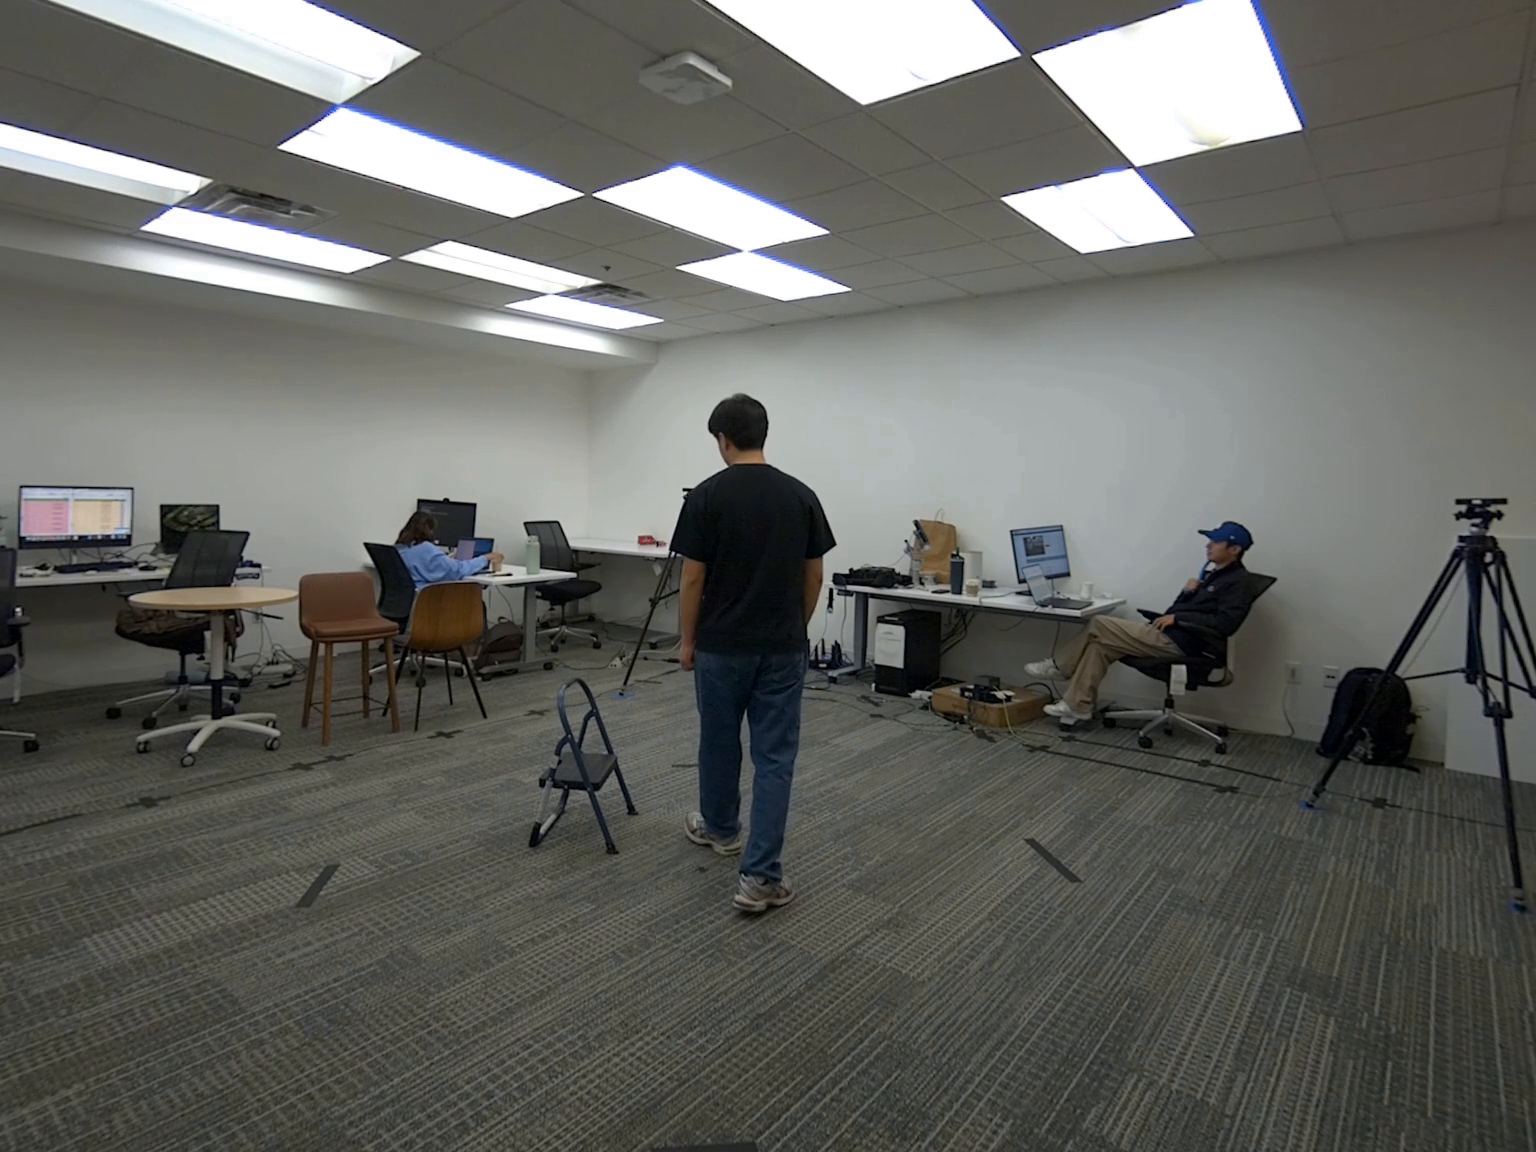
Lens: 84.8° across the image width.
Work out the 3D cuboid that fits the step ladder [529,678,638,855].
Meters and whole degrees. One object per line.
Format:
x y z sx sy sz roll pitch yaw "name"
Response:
-0.749 0.729 3.441 0.351 0.605 0.430 2 3 2 "step ladder"
